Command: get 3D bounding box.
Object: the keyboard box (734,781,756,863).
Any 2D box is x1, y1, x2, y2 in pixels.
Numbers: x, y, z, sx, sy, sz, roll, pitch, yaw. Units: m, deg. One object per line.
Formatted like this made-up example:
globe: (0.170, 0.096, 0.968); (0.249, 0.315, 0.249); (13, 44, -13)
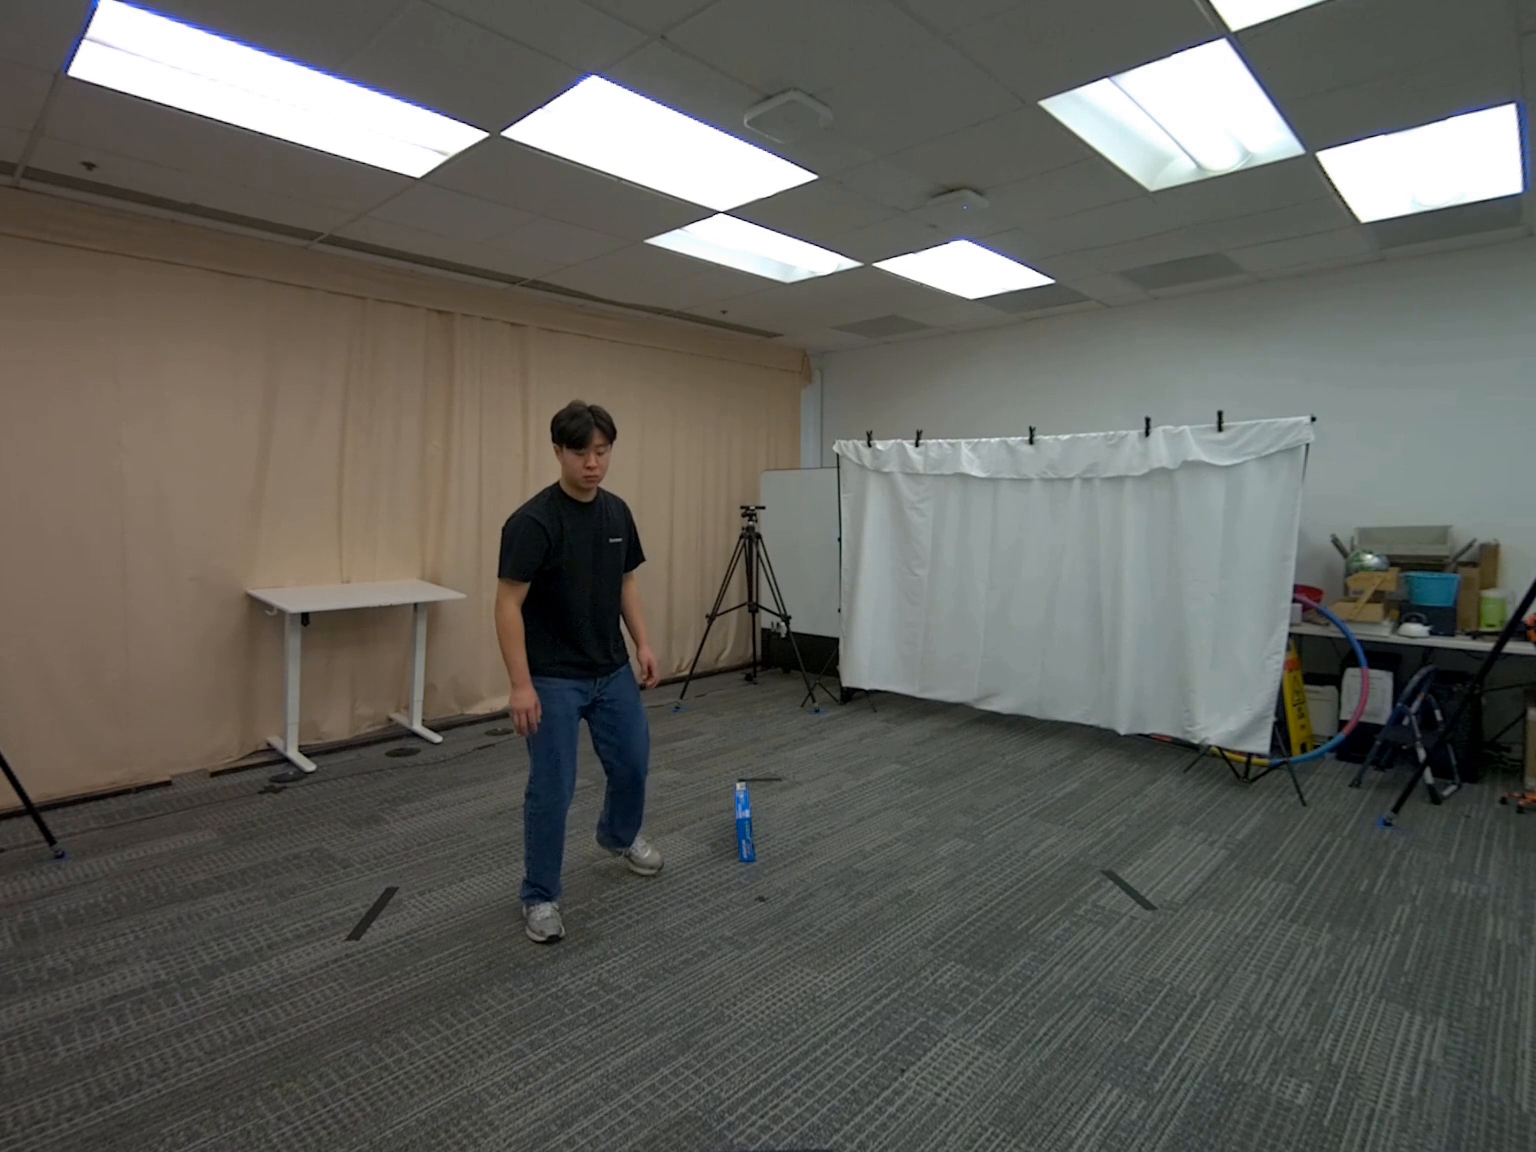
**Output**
keyboard box: (-0.097, 1.012, 3.505); (0.059, 0.175, 0.439); (-5, 5, -3)
